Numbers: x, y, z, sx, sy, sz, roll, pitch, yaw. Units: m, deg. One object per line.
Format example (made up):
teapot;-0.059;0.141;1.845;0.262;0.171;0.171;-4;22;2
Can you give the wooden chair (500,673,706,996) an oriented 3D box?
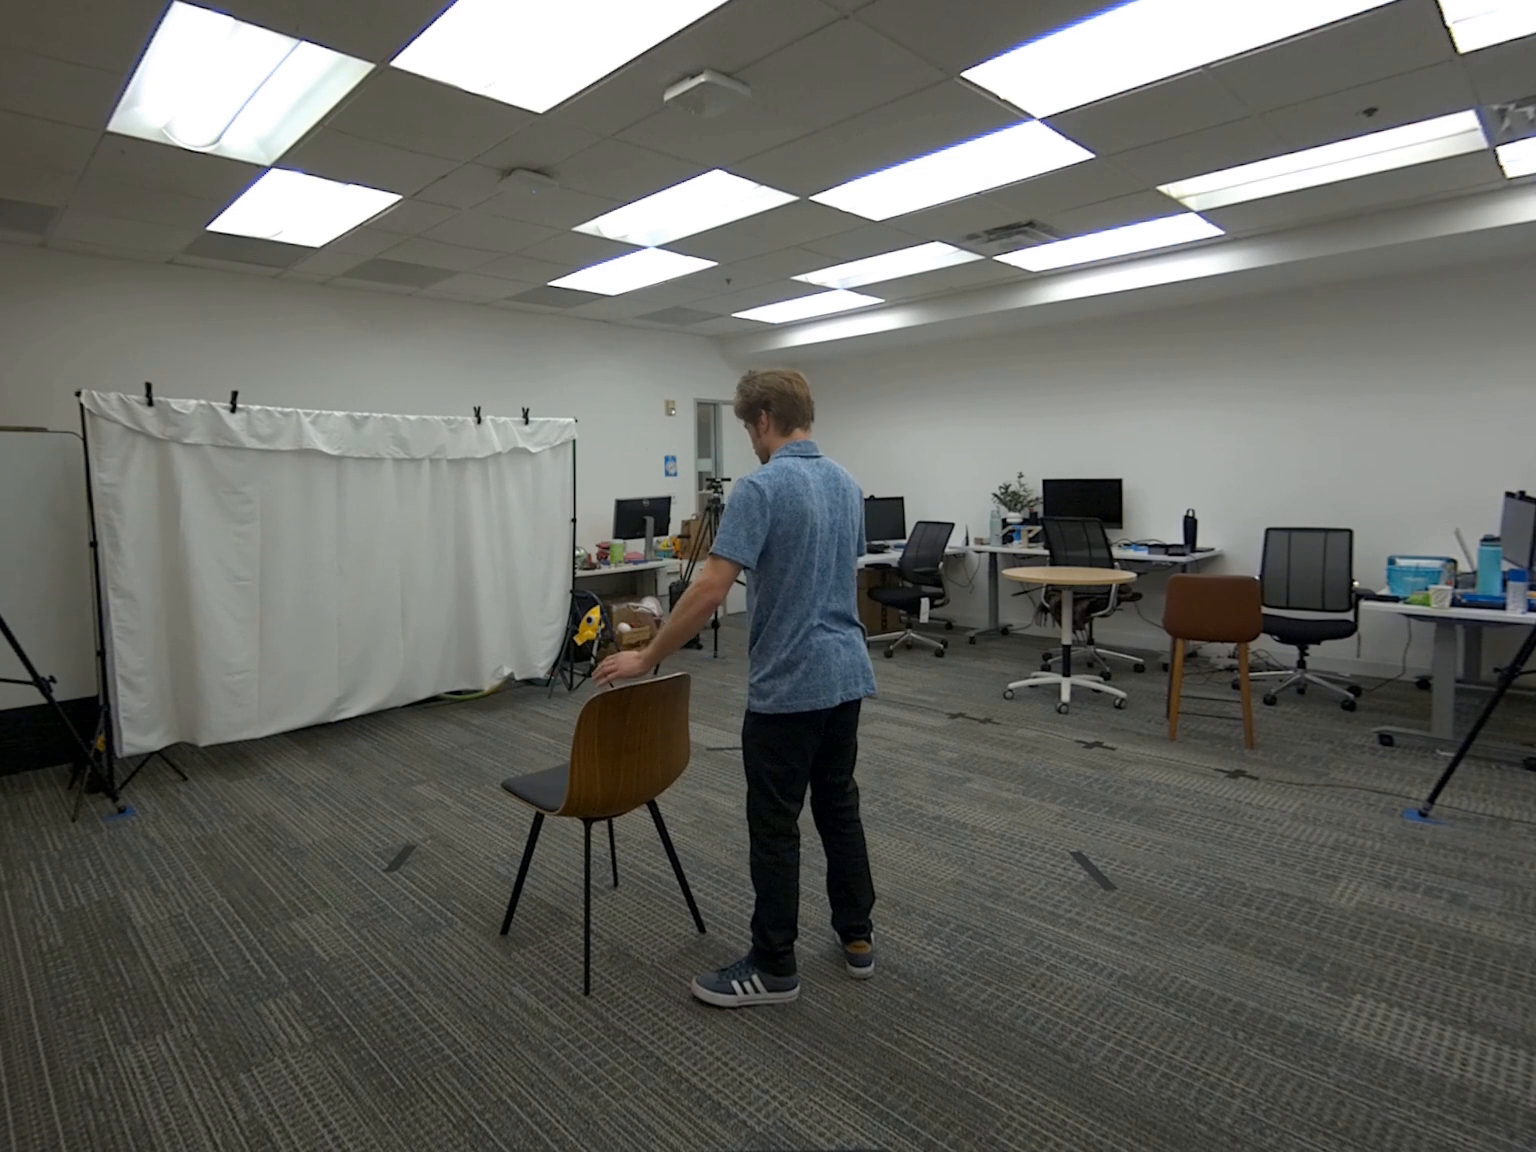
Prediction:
wooden chair;-0.517;0.680;2.611;0.541;0.871;0.465;10;11;44
